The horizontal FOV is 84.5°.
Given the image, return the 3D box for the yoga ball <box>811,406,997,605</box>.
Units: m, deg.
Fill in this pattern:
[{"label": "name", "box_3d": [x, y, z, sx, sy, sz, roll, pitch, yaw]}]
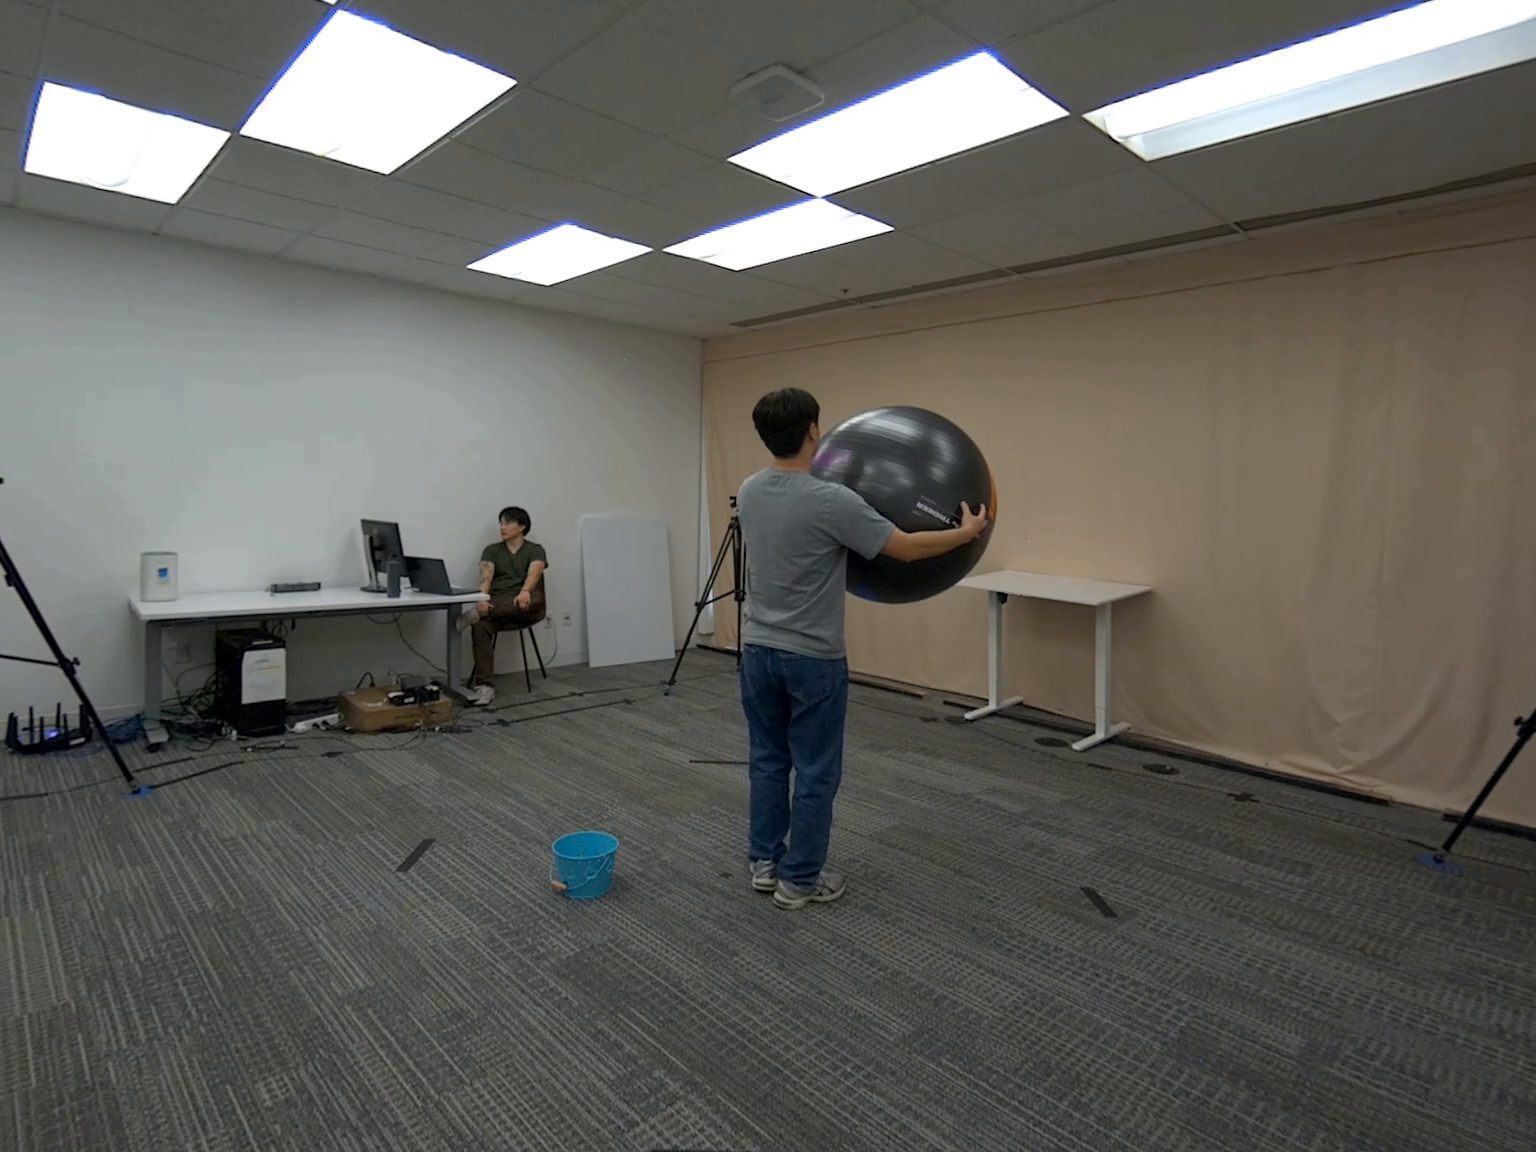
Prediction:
[{"label": "yoga ball", "box_3d": [0.493, -0.266, 3.262, 0.757, 0.756, 0.761, 1, 4, -1]}]
